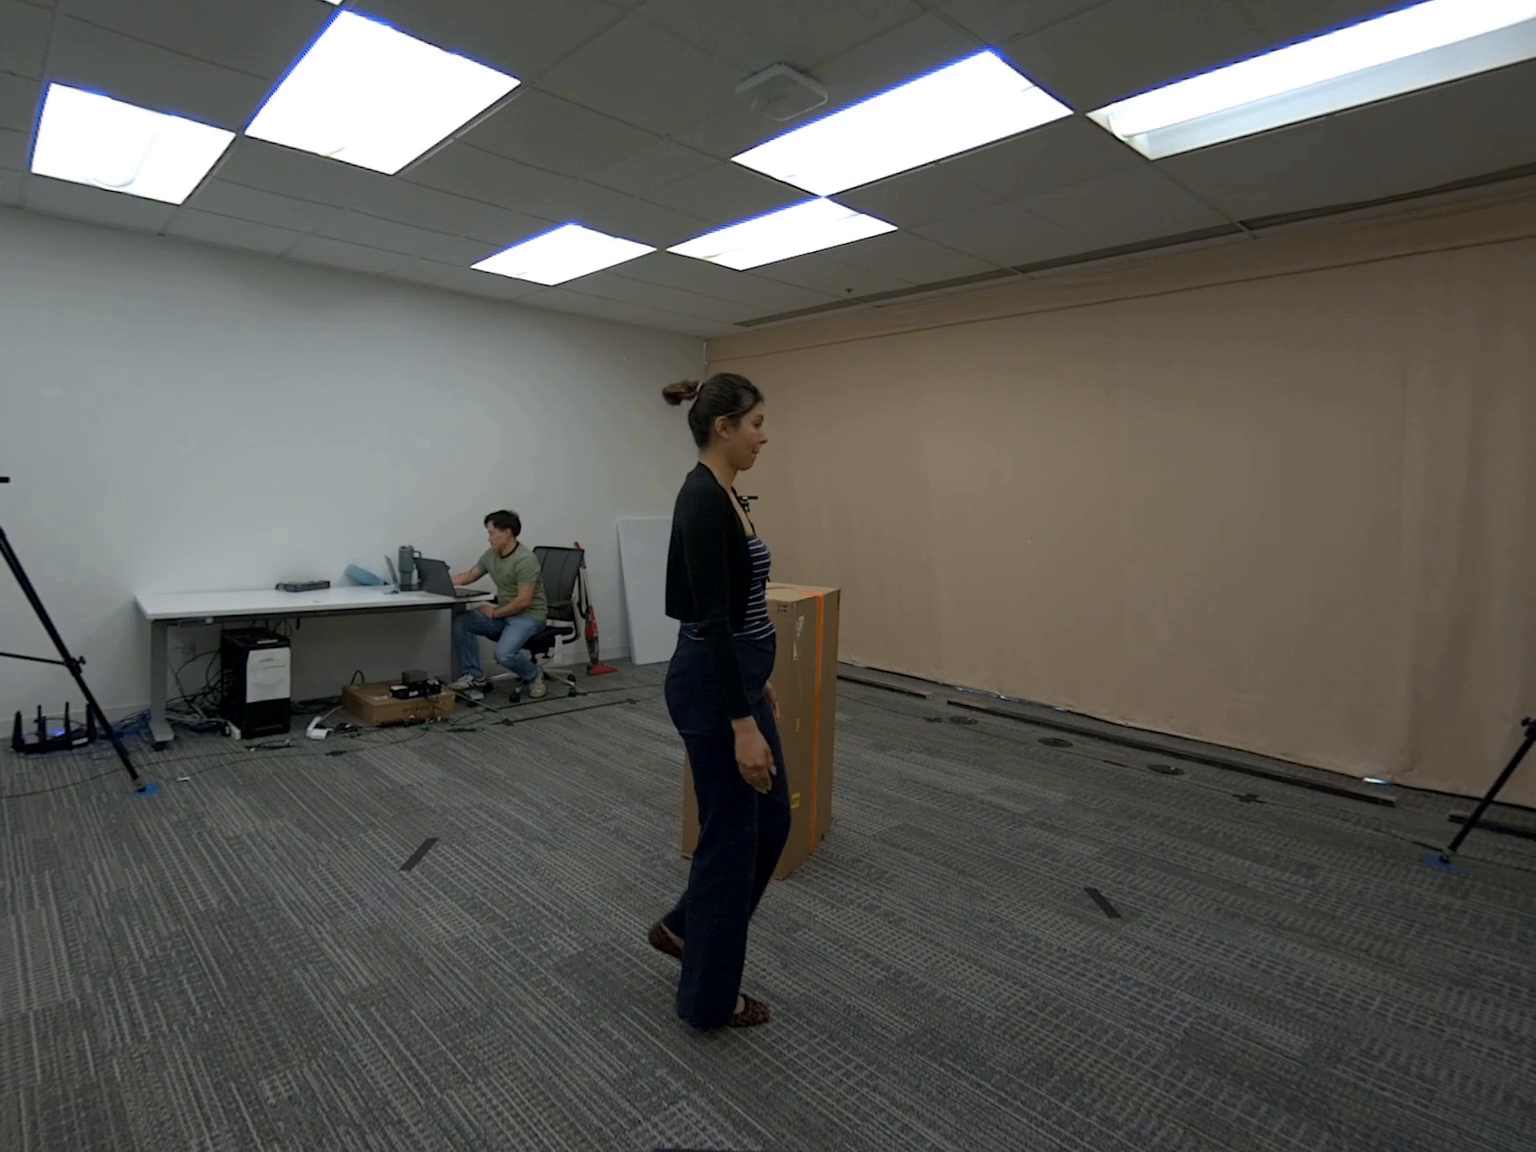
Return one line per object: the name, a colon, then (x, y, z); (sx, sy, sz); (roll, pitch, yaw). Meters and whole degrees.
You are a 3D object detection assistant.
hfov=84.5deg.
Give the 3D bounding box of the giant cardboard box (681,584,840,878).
giant cardboard box: (-0.015, 0.572, 3.382); (0.434, 1.023, 0.568); (4, 4, 24)
